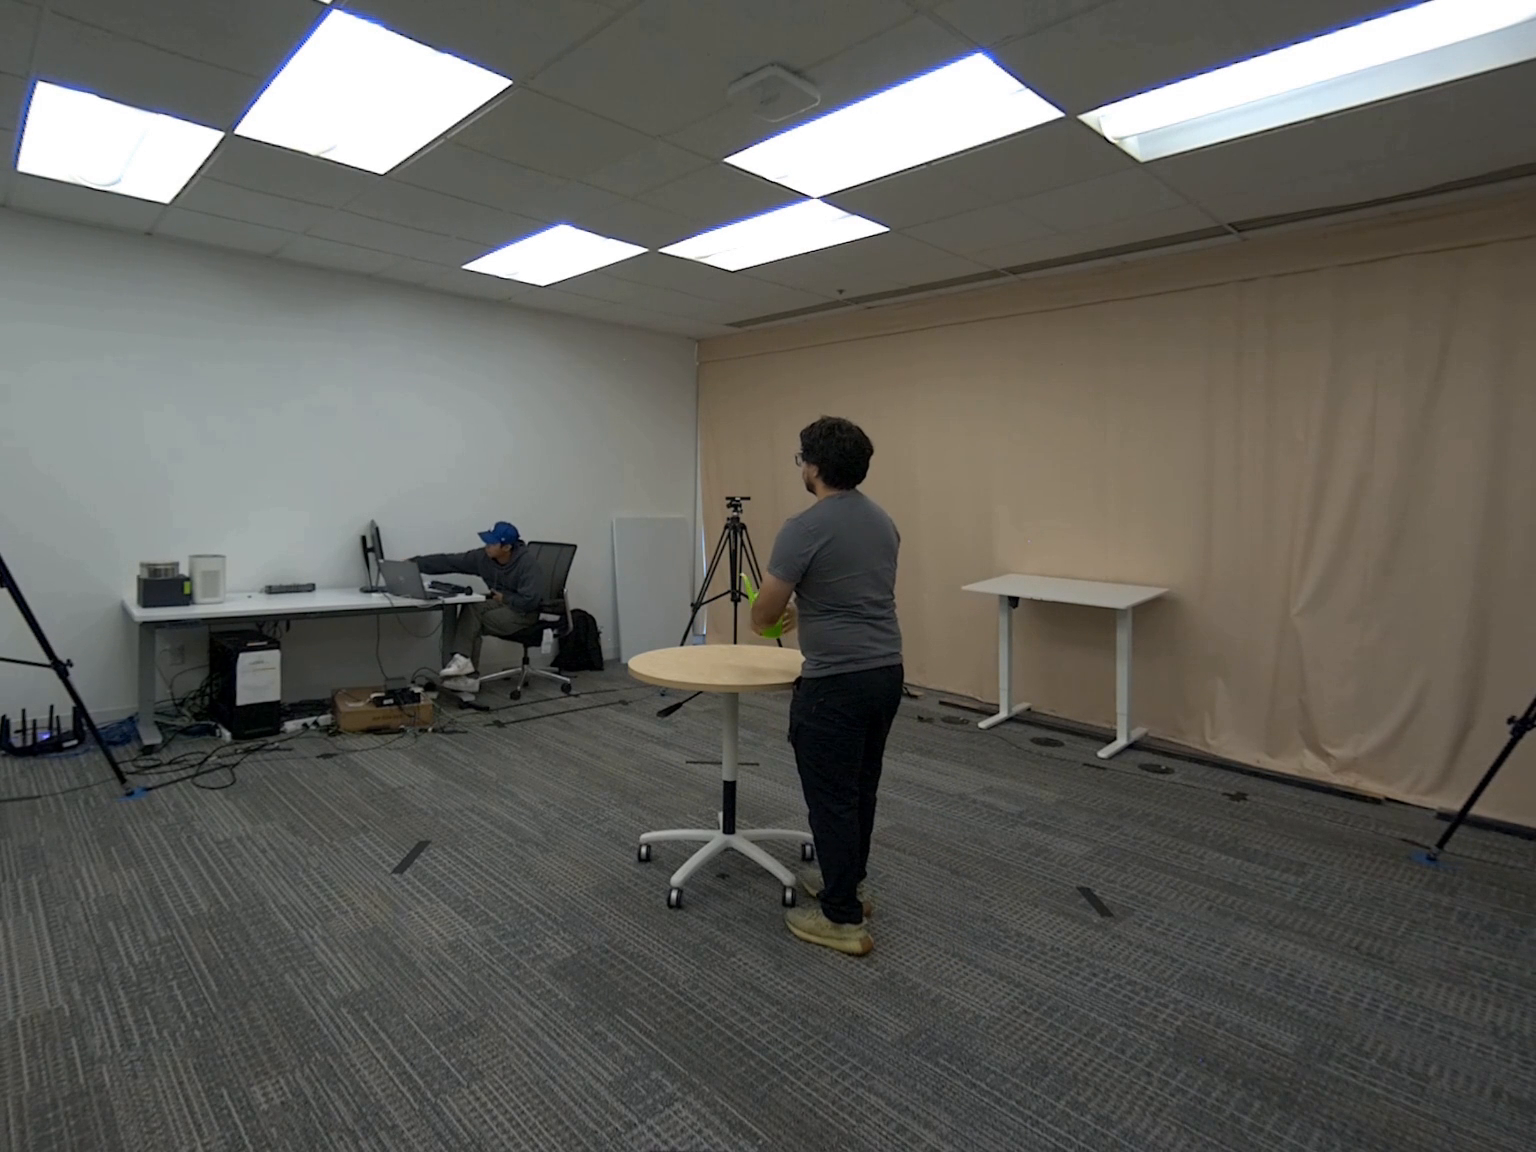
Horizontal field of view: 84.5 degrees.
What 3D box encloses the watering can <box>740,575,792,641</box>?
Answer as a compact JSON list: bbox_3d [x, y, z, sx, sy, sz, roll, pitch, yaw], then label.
[{"bbox_3d":[-0.024,0.113,3.018,0.096,0.175,0.284,1,14,-19],"label":"watering can"}]
